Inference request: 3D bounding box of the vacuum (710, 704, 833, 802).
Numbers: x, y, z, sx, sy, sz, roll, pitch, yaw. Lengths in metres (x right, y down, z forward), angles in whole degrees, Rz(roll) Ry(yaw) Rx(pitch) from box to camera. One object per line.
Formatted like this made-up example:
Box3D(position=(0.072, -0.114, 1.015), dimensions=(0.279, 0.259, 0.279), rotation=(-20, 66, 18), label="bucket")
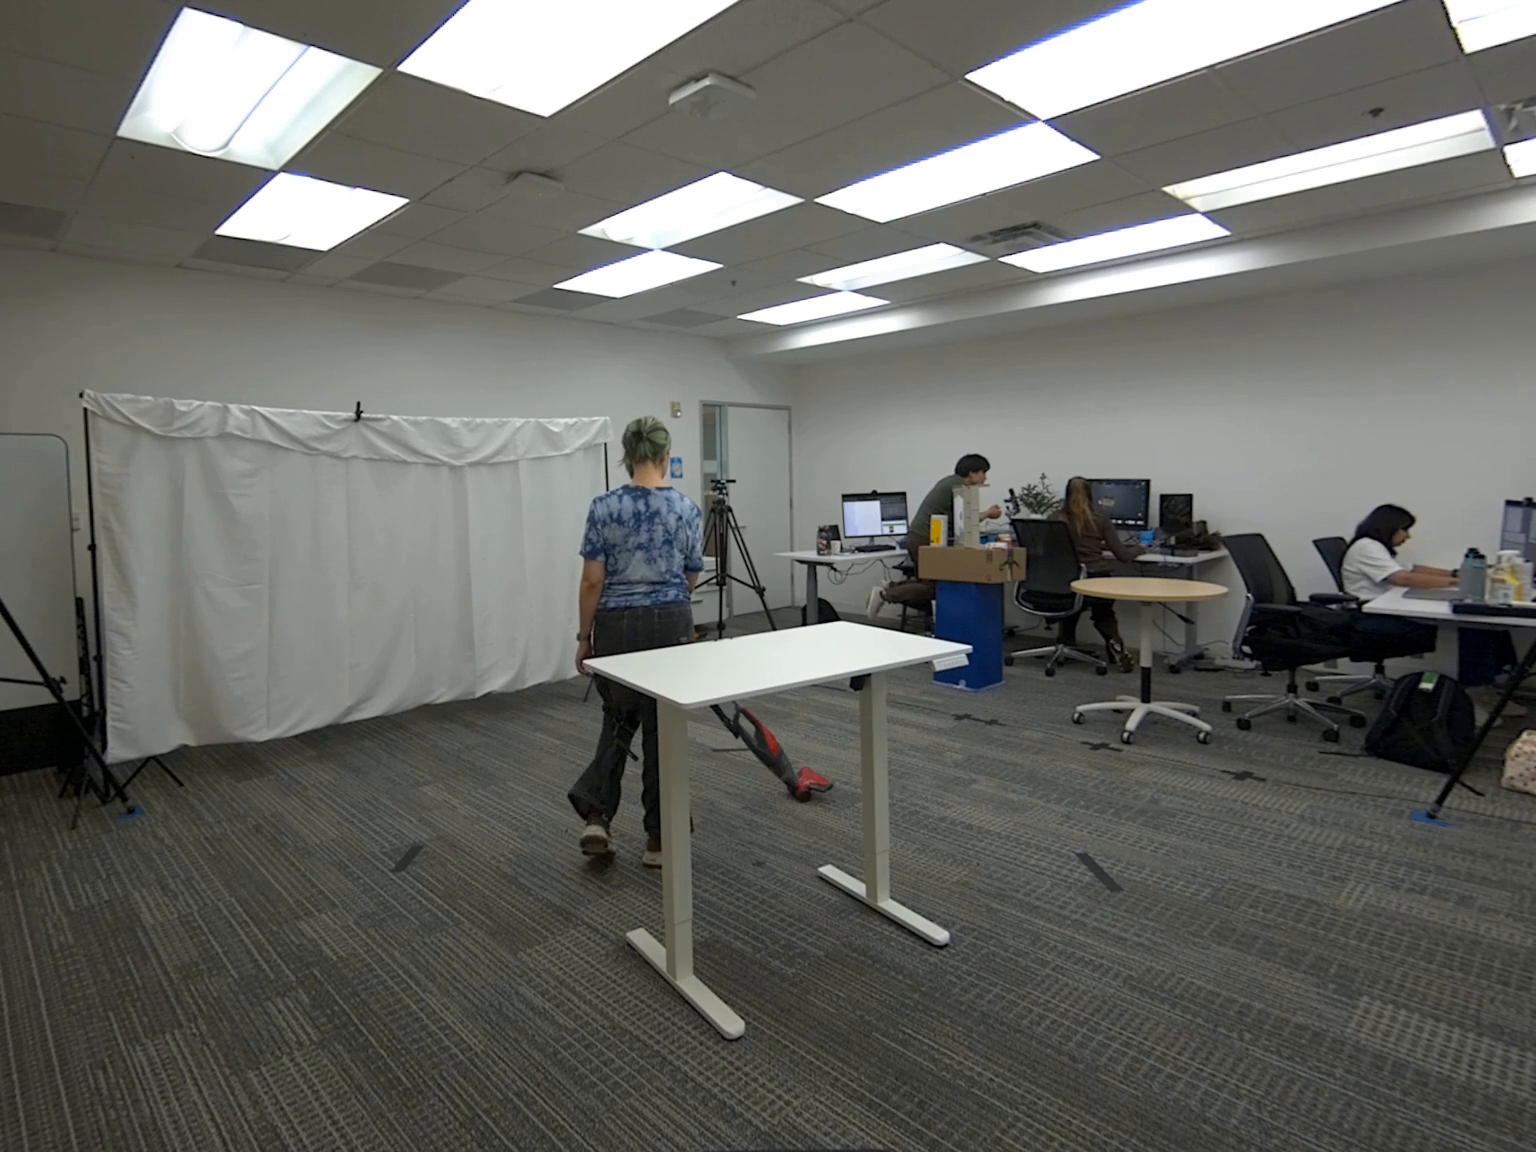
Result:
Box3D(position=(-0.142, 0.591, 3.619), dimensions=(0.144, 1.025, 0.258), rotation=(-49, 19, -18), label="vacuum")
